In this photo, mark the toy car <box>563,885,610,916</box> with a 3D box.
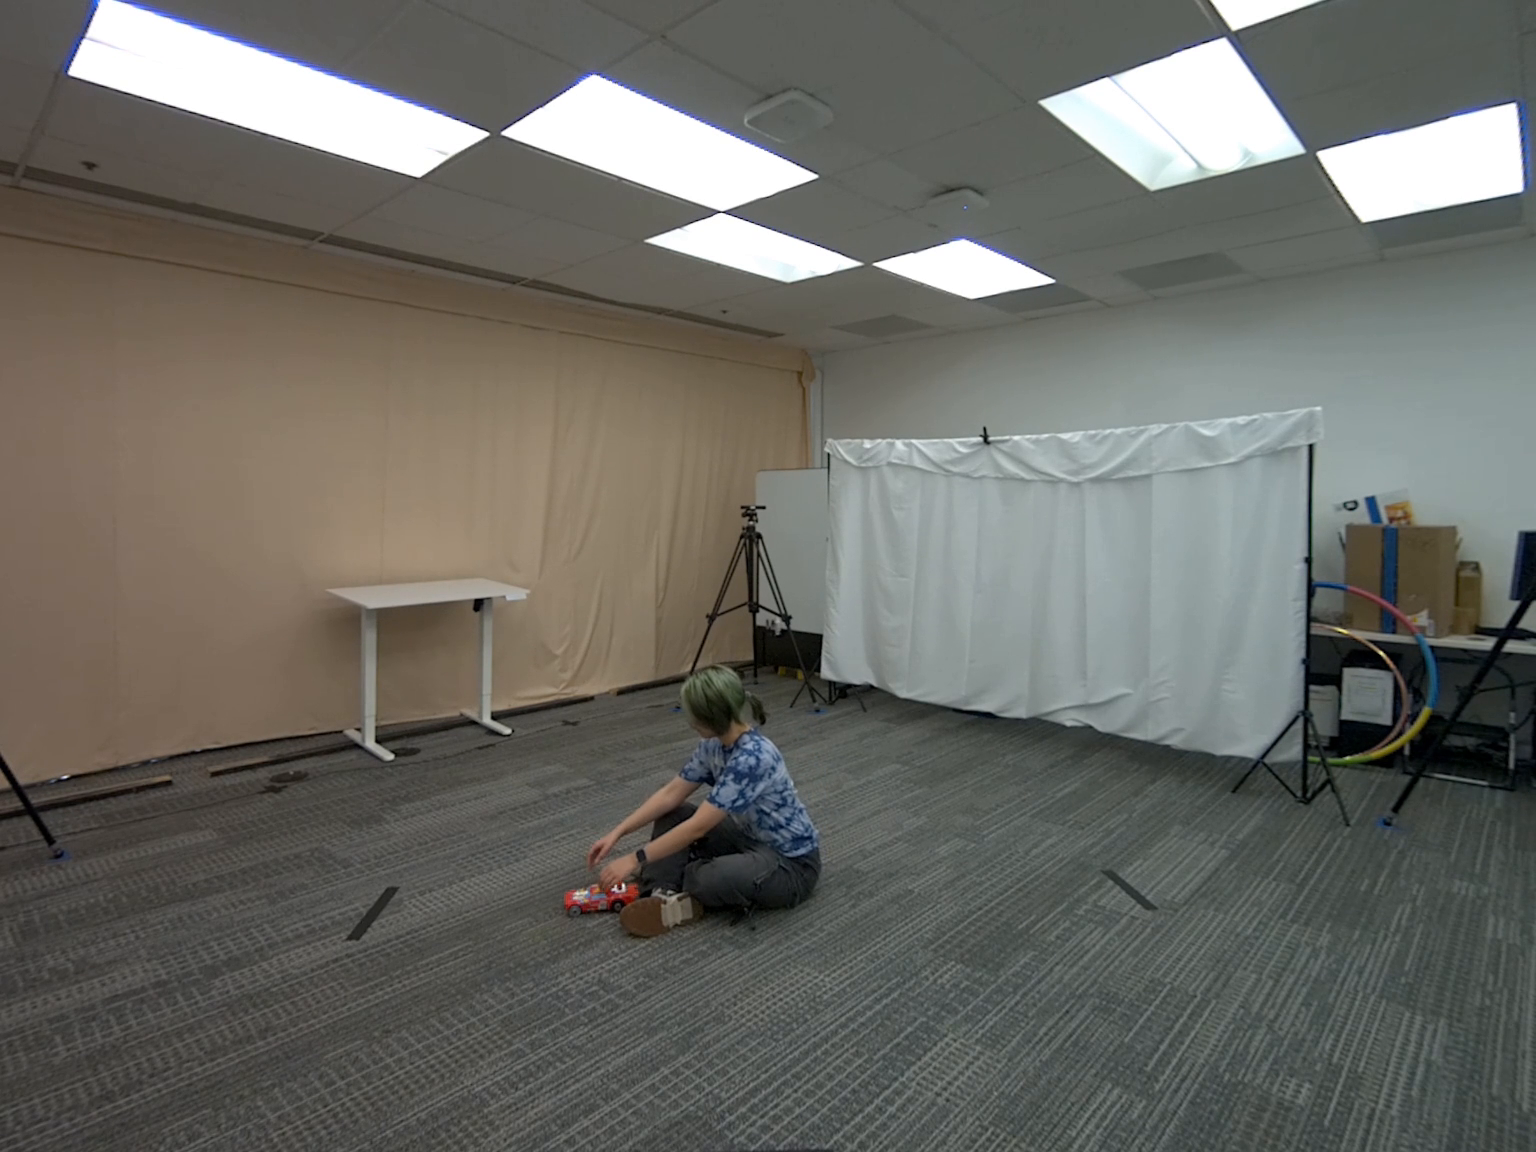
[{"bbox_3d":[-0.578,1.125,2.934,0.252,0.083,0.132,-12,5,-9],"label":"toy car"}]
